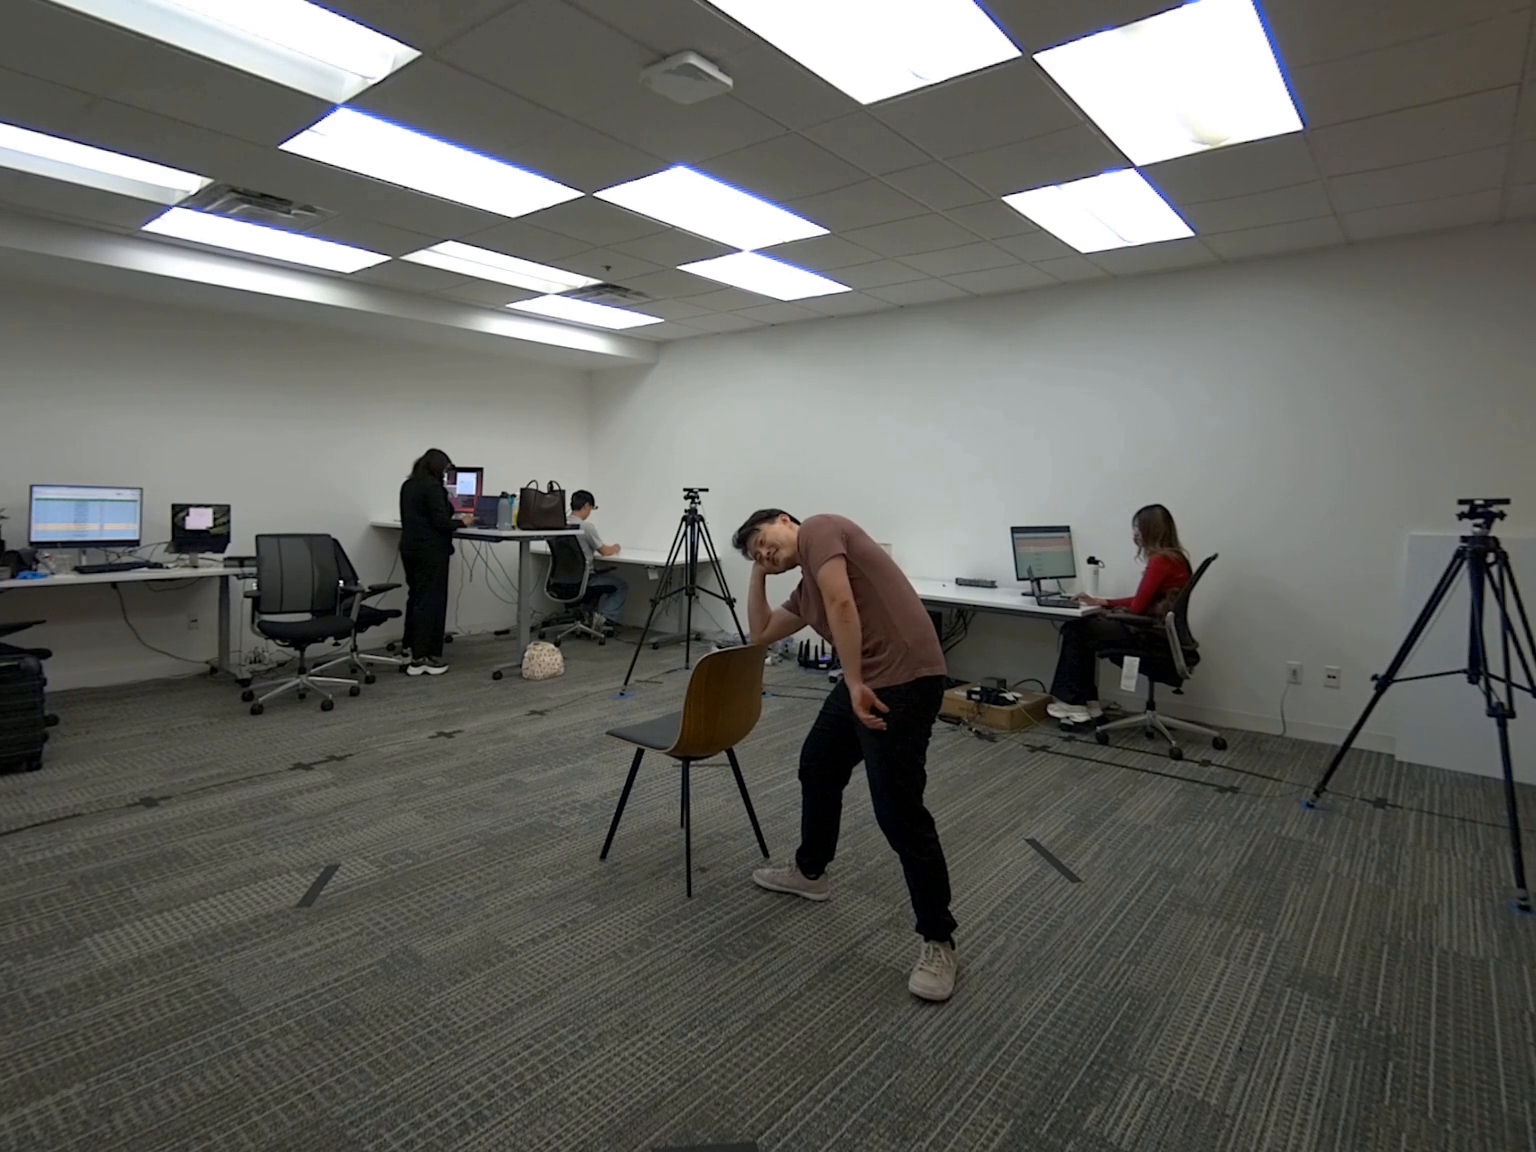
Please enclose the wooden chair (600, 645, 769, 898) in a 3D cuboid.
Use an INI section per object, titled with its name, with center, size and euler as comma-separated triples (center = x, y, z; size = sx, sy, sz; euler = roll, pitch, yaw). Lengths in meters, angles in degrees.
[wooden chair]
center = -0.318, 0.633, 3.177
size = 0.542, 0.873, 0.464
euler = 10, 8, 38
